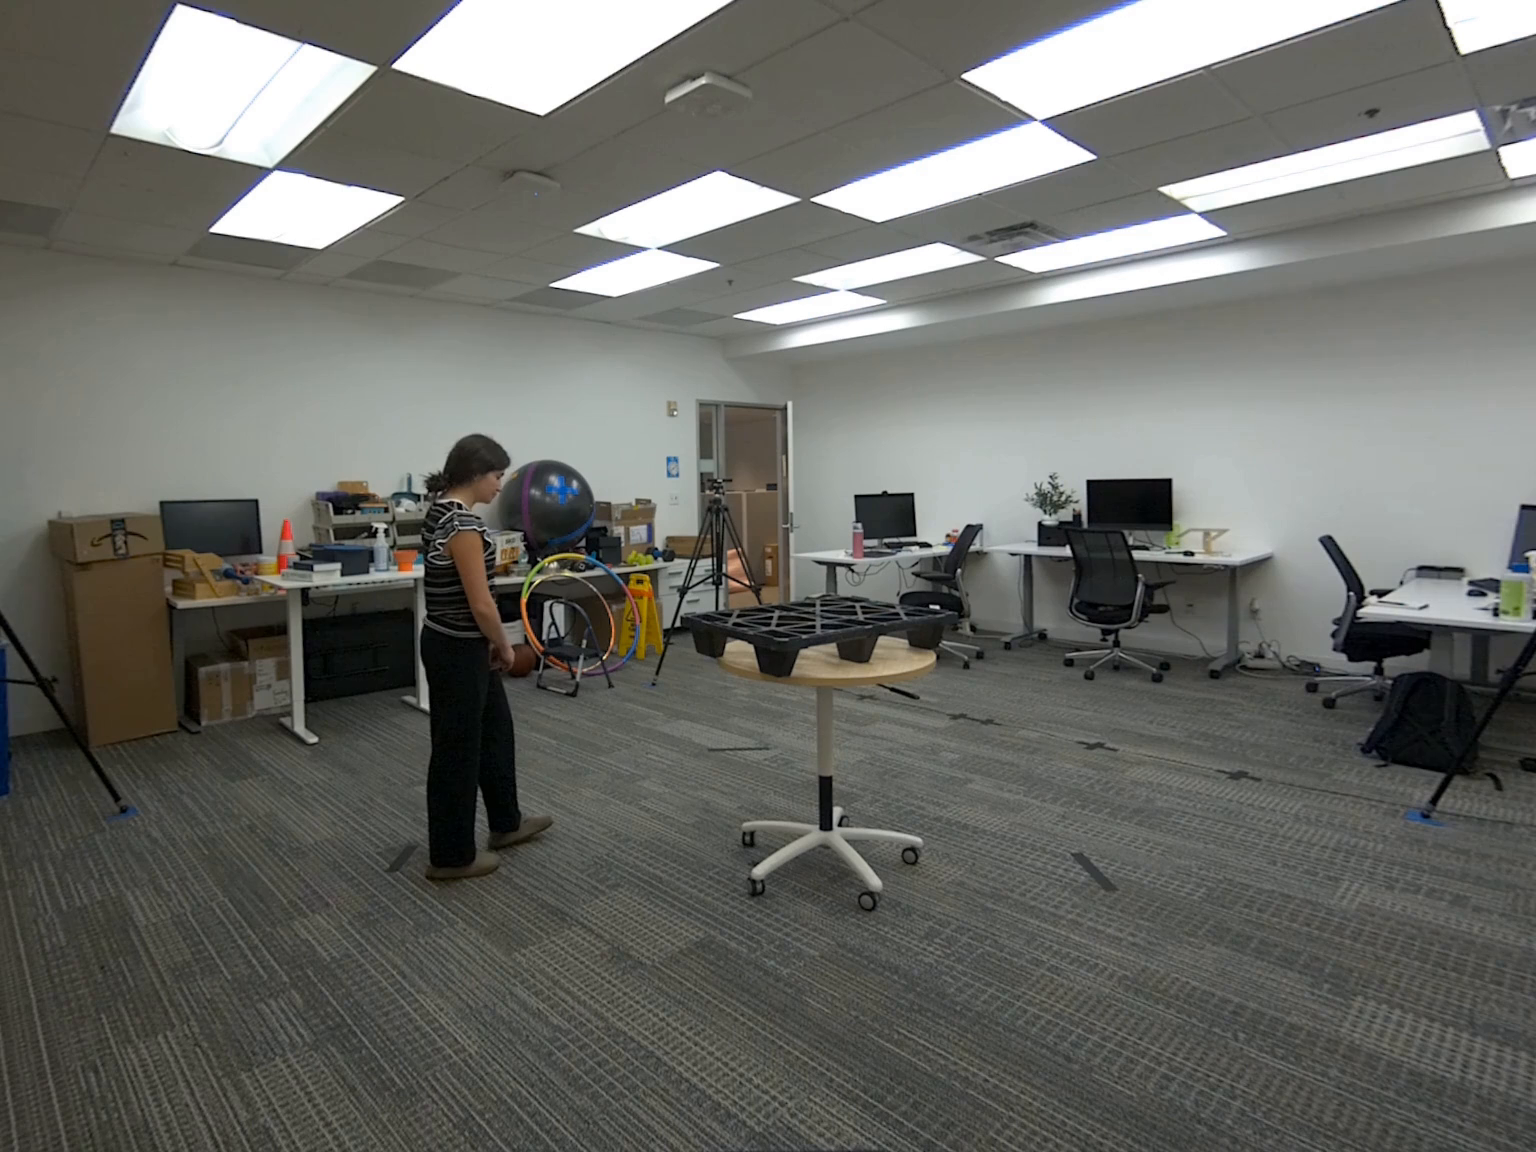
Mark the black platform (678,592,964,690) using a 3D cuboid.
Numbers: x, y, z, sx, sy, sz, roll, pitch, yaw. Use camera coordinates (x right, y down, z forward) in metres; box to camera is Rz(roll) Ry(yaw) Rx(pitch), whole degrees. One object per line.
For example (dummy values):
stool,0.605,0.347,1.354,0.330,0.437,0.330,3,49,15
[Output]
black platform,0.183,0.201,3.038,0.786,0.142,0.624,-6,9,-35
